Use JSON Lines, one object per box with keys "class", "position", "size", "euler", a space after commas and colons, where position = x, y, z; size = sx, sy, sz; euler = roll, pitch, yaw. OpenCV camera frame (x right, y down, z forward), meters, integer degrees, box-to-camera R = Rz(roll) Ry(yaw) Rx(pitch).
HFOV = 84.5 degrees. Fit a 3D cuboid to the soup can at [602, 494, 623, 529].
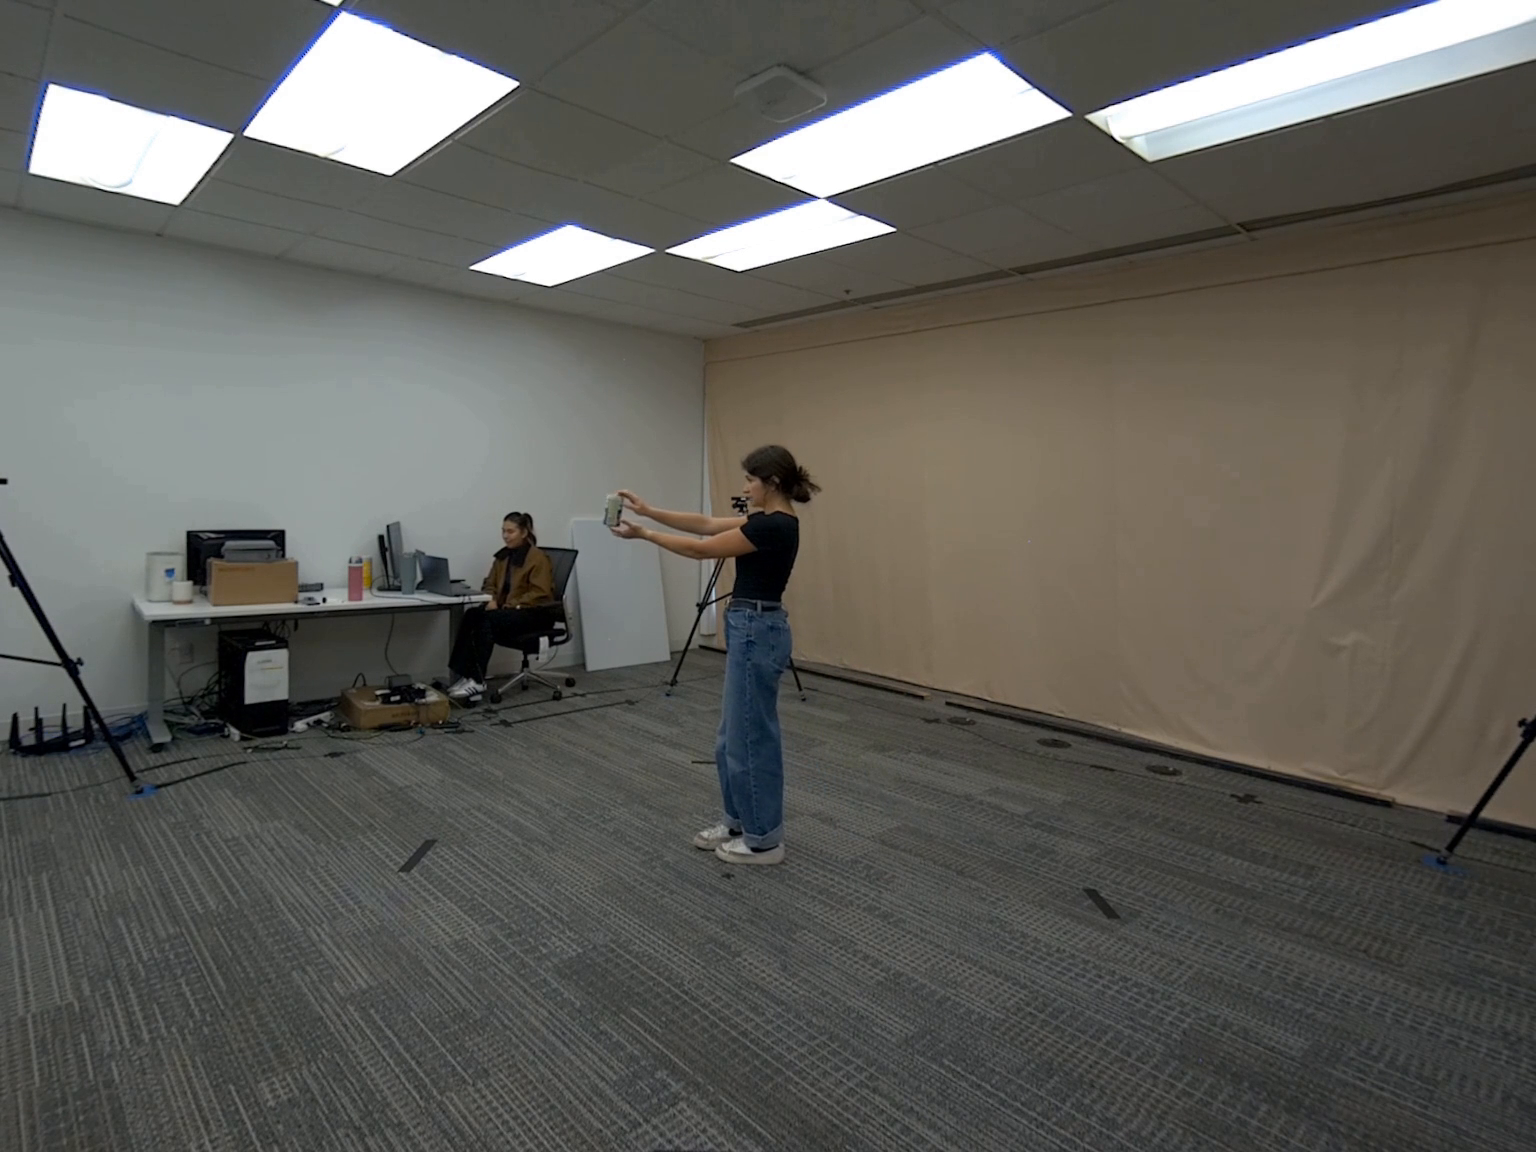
{"class": "soup can", "position": [-0.597, -0.254, 3.247], "size": [0.067, 0.121, 0.067], "euler": [7, 5, -2]}
